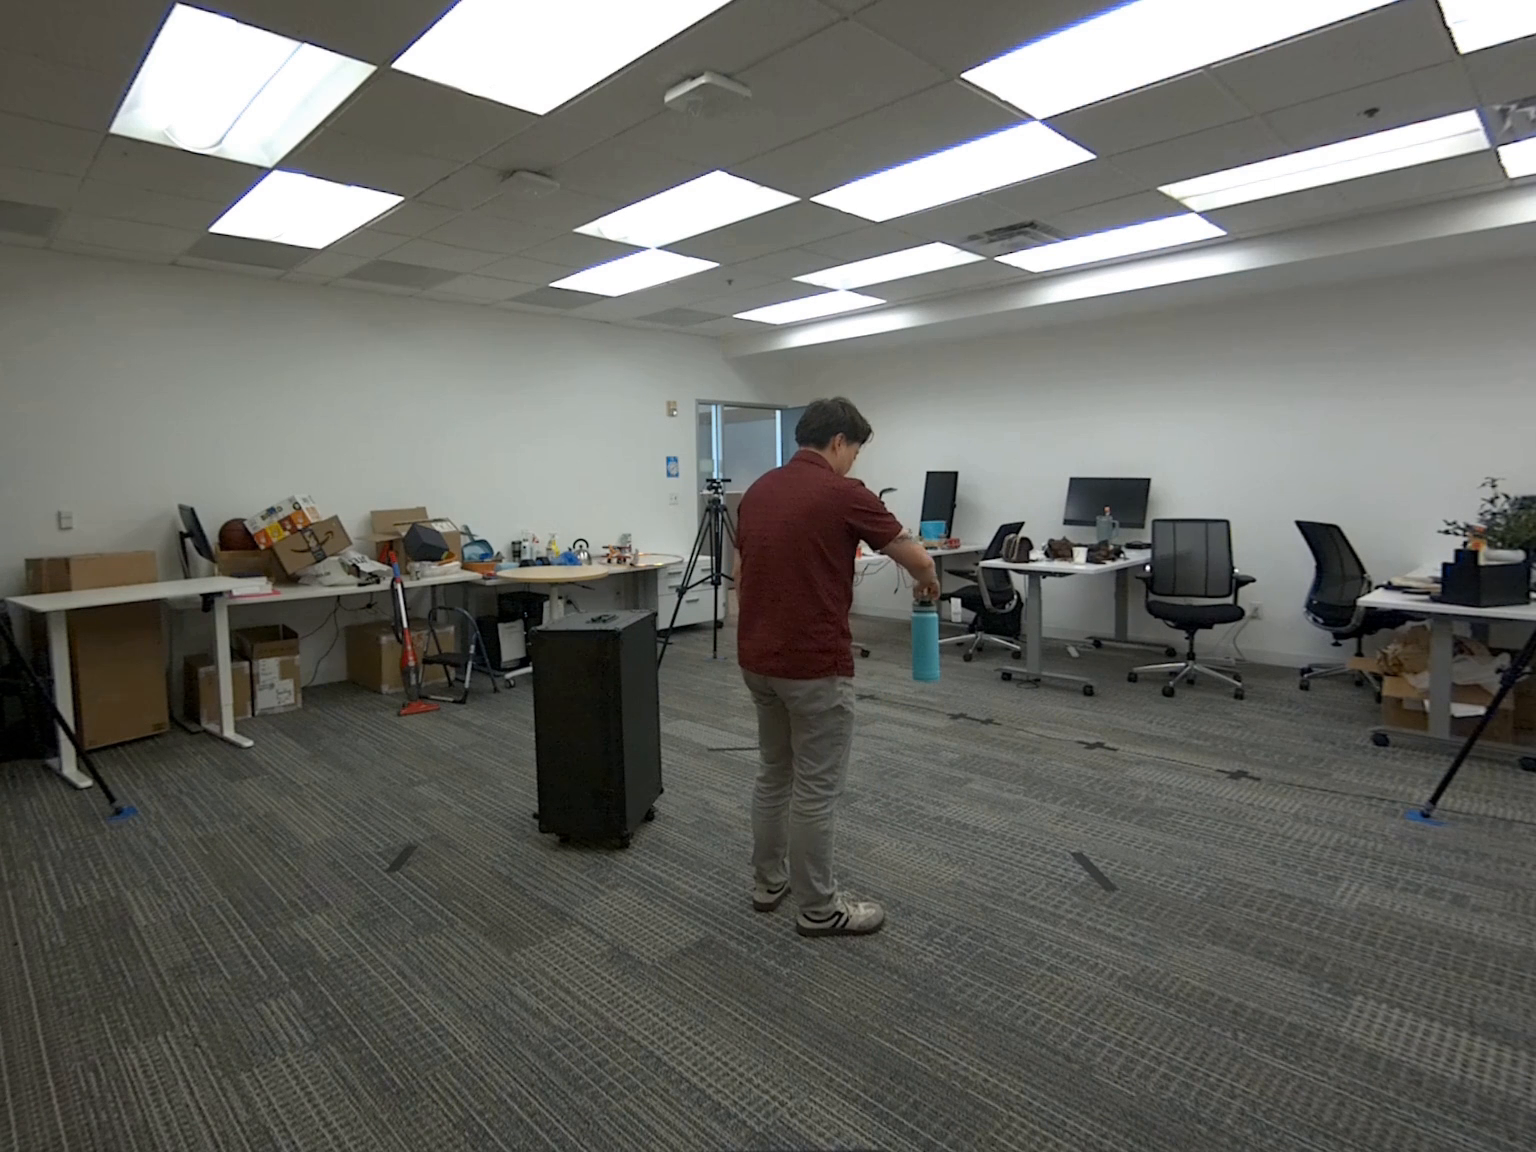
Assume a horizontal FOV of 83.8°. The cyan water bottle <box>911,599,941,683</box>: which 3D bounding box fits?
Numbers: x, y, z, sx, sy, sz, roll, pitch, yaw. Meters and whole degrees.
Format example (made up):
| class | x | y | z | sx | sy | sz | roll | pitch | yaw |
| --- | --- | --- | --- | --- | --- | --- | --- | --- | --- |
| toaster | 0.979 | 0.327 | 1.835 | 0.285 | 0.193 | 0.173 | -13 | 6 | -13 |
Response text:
| class | x | y | z | sx | sy | sz | roll | pitch | yaw |
| --- | --- | --- | --- | --- | --- | --- | --- | --- | --- |
| cyan water bottle | 0.526 | 0.210 | 2.873 | 0.092 | 0.284 | 0.092 | -2 | -2 | -2 |
